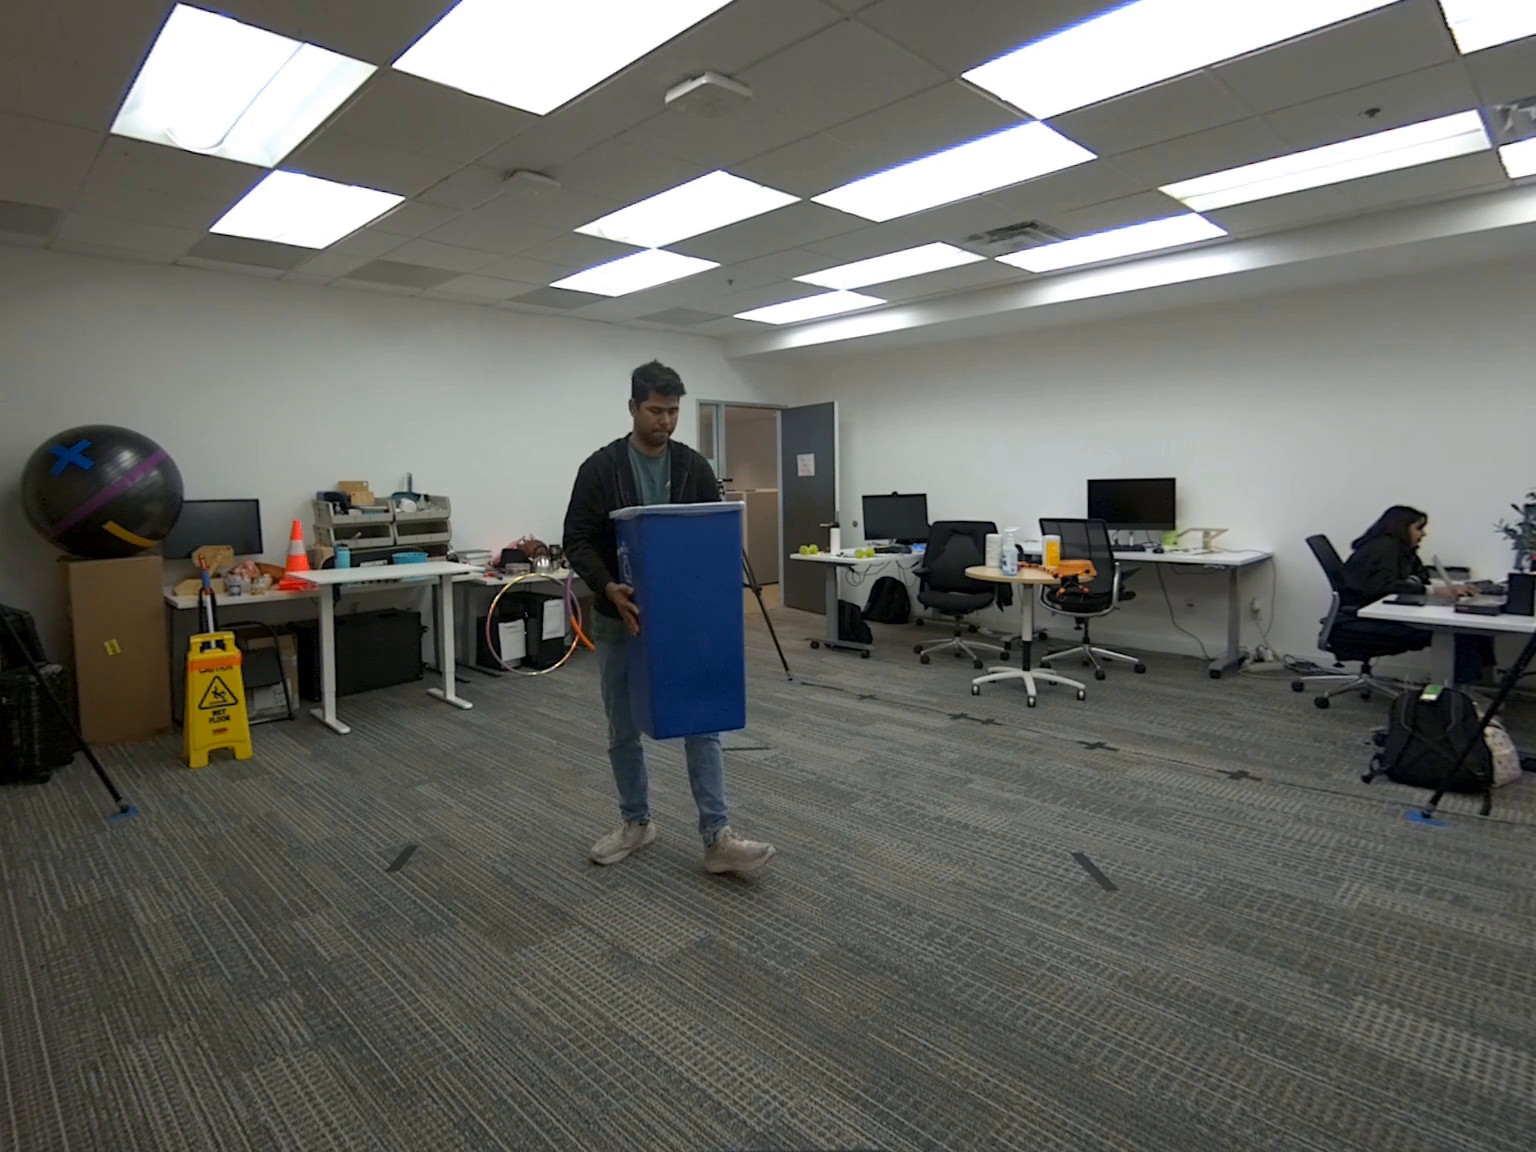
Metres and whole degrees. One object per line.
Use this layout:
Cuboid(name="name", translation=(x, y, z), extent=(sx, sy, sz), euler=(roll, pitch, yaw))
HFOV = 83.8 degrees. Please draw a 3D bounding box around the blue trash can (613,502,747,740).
Cuboid(name="blue trash can", translation=(-0.274, 0.136, 2.771), extent=(0.371, 0.714, 0.381), euler=(-4, 0, -21))
